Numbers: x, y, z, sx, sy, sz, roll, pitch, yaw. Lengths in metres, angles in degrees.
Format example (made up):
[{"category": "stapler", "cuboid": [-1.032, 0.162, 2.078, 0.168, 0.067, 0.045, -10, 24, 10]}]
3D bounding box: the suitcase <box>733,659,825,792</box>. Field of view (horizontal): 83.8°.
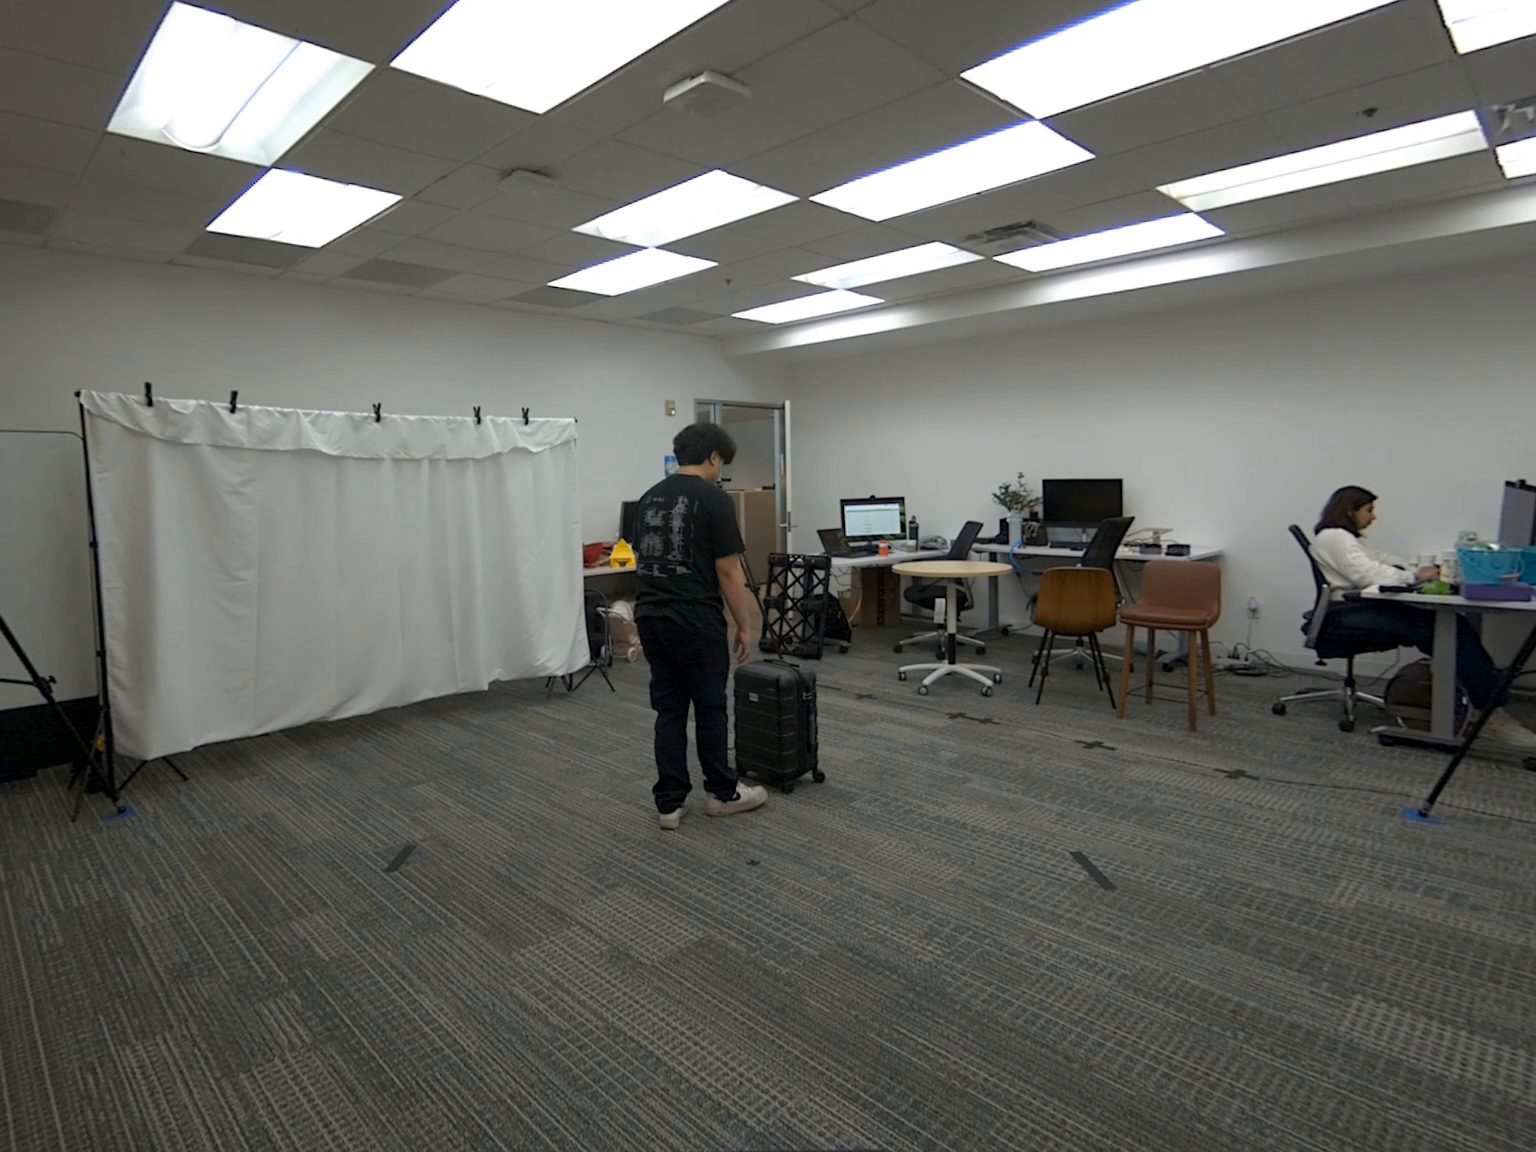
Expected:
[{"category": "suitcase", "cuboid": [0.036, 0.671, 3.947, 0.242, 0.547, 0.387, -6, 7, -43]}]
